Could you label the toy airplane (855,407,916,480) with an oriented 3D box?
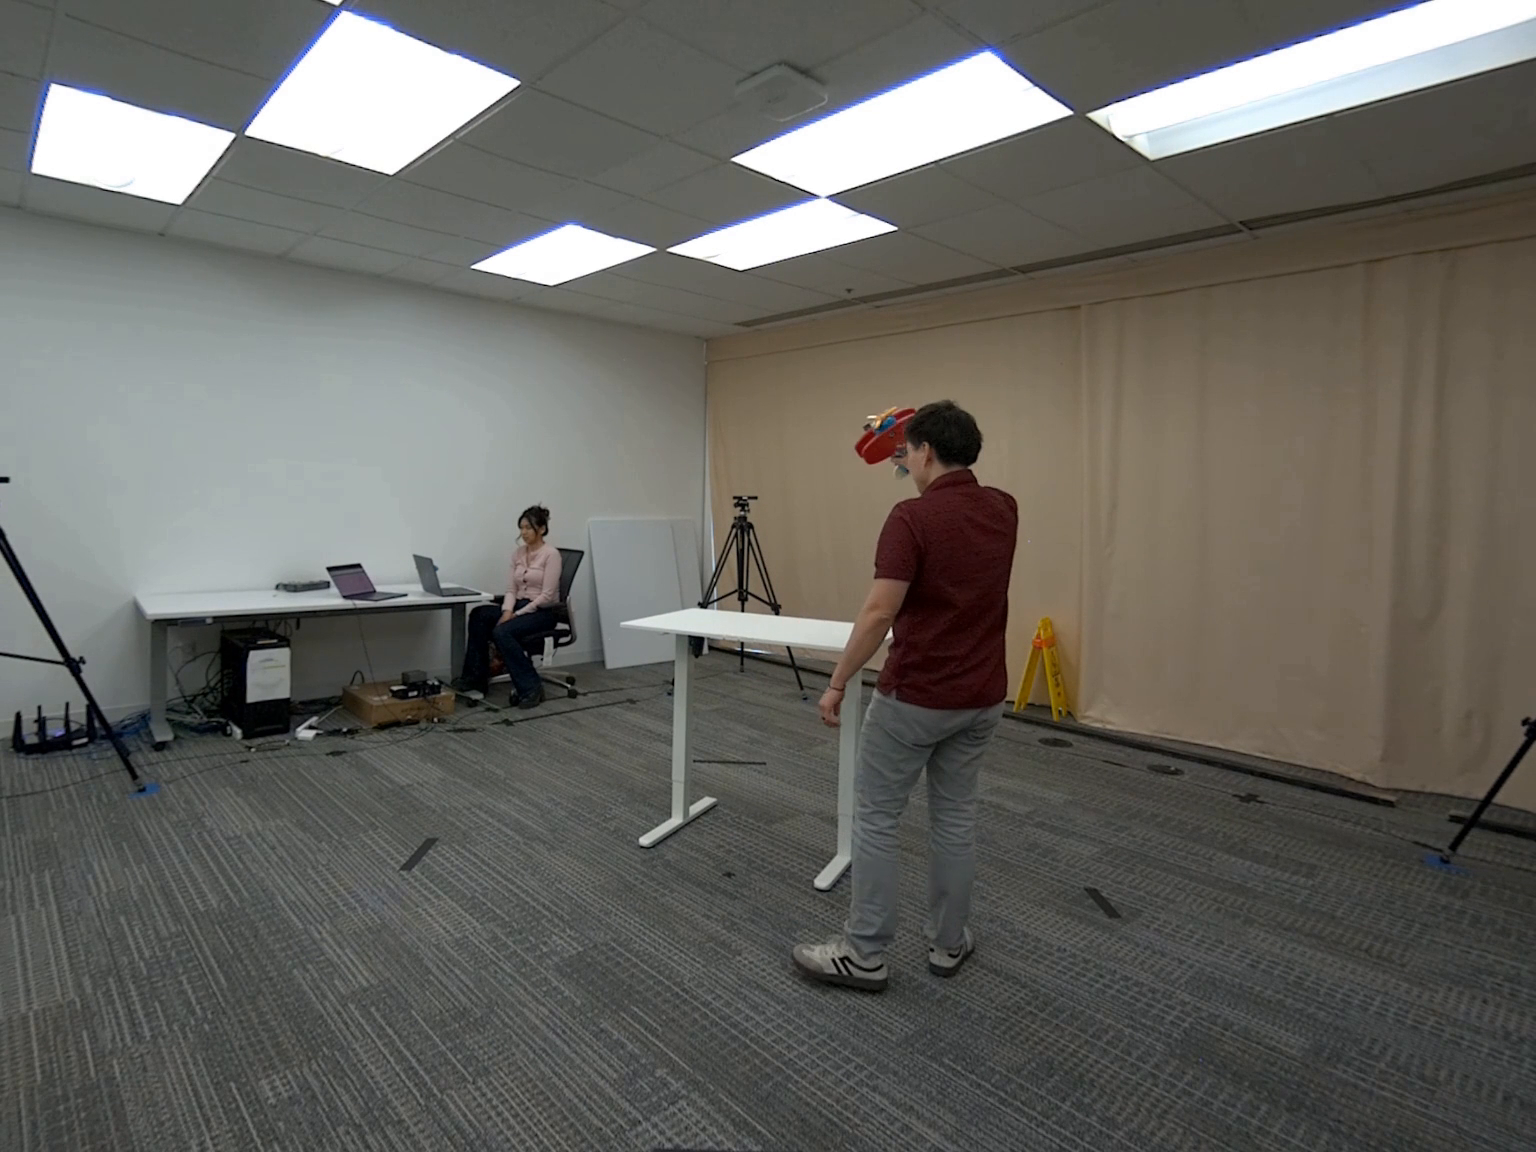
[{"bbox_3d":[0.460,-0.487,3.015,0.257,0.250,0.158,28,9,-9],"label":"toy airplane"}]
